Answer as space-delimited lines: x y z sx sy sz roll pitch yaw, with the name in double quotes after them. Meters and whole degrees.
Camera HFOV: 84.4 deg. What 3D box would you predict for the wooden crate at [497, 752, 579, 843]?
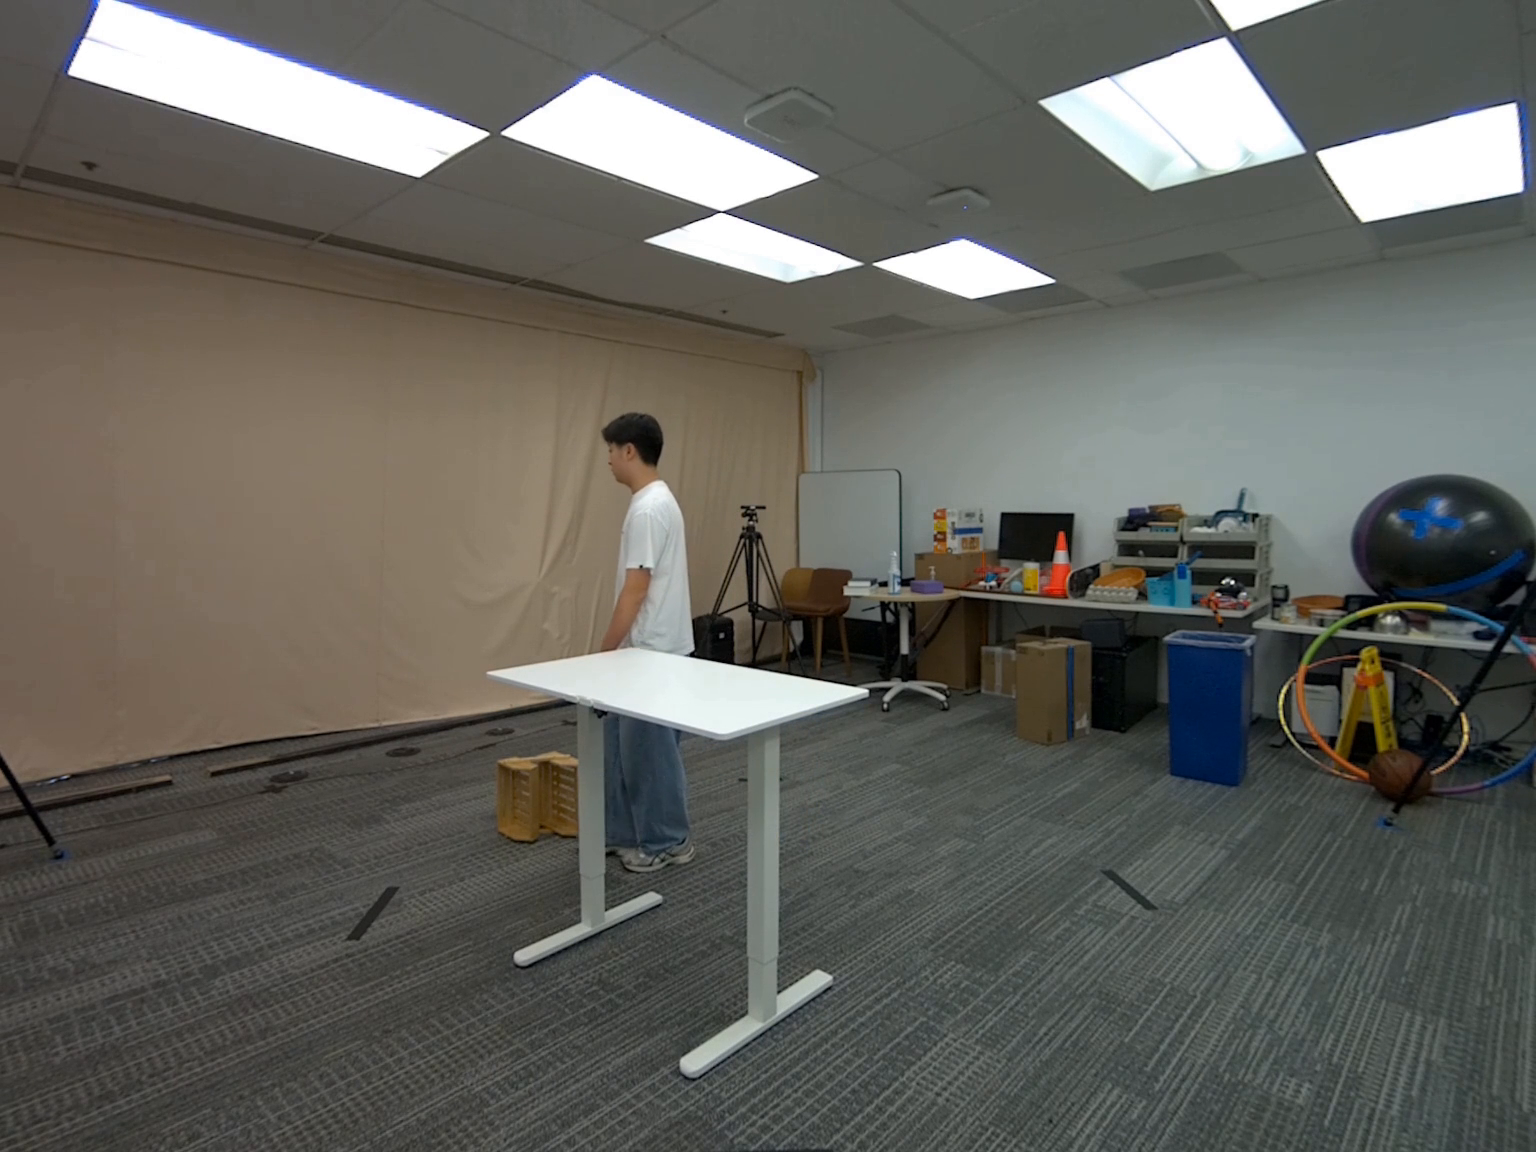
-0.972 0.941 3.578 0.312 0.324 0.265 2 3 45 "wooden crate"
